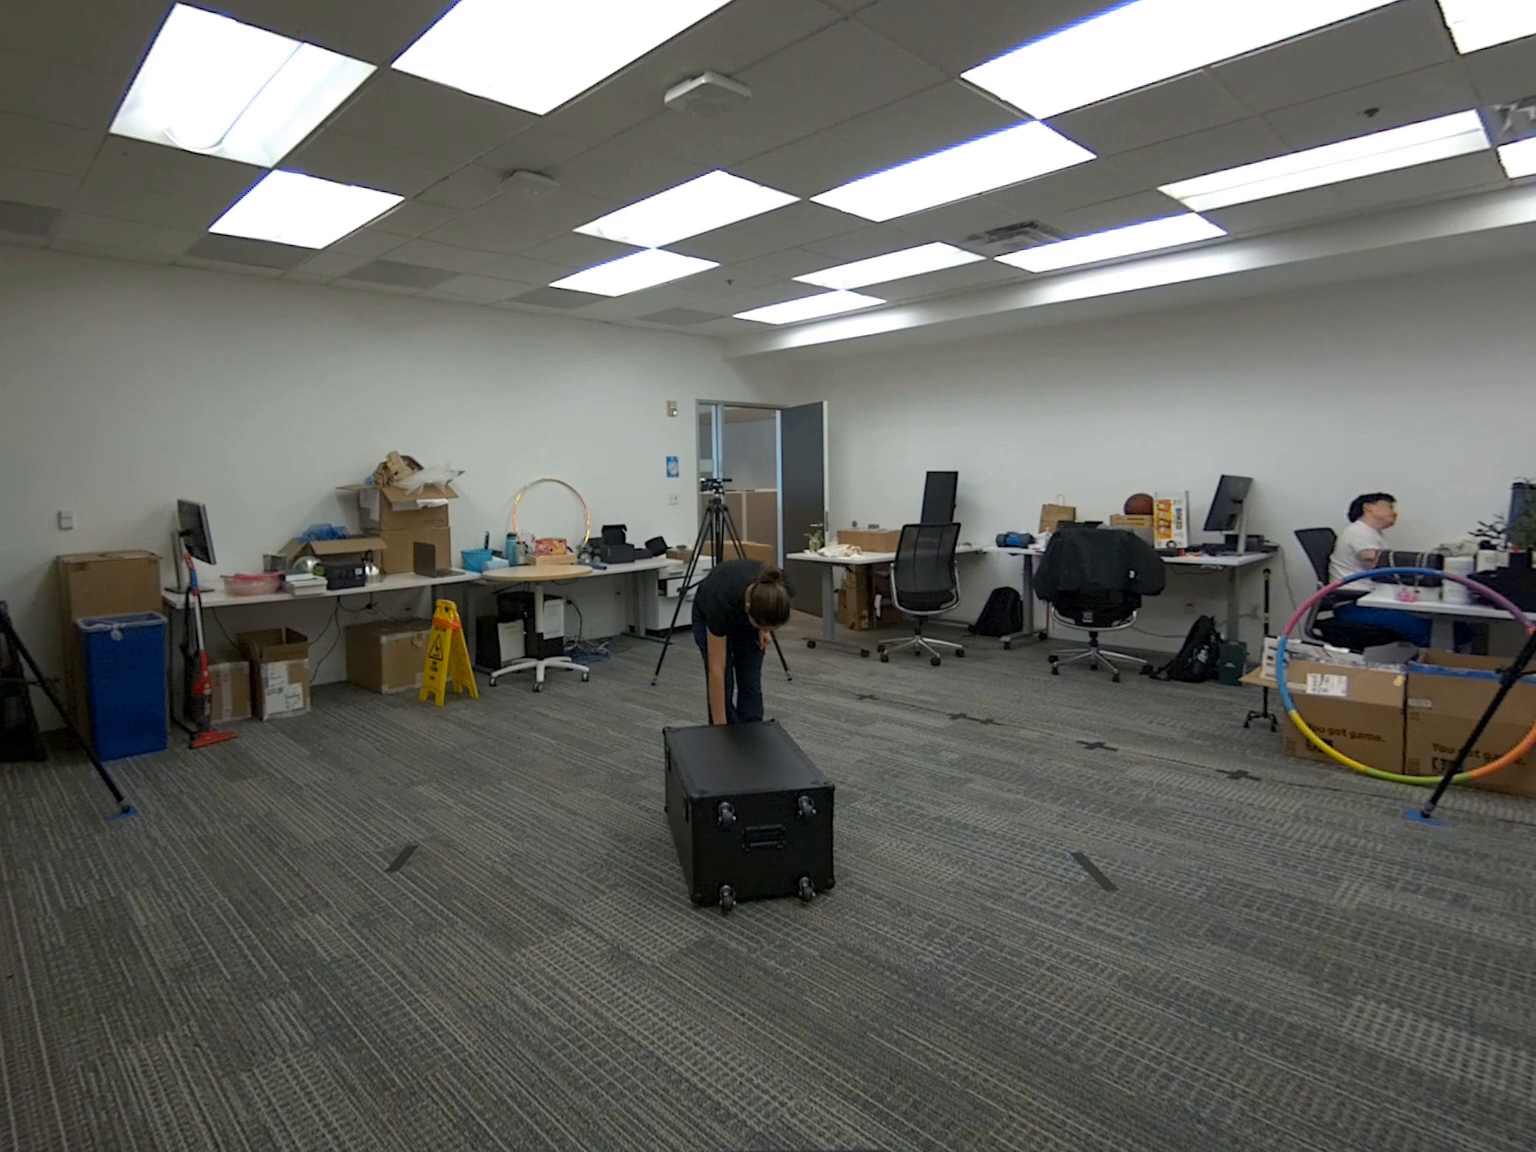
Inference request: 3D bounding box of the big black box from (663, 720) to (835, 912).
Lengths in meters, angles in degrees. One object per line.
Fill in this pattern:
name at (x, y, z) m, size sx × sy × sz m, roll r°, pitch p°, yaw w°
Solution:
big black box at (-0.100, 0.844, 3.165) m, size 0.515 × 0.395 × 0.875 m, roll -3°, pitch 6°, yaw -13°
